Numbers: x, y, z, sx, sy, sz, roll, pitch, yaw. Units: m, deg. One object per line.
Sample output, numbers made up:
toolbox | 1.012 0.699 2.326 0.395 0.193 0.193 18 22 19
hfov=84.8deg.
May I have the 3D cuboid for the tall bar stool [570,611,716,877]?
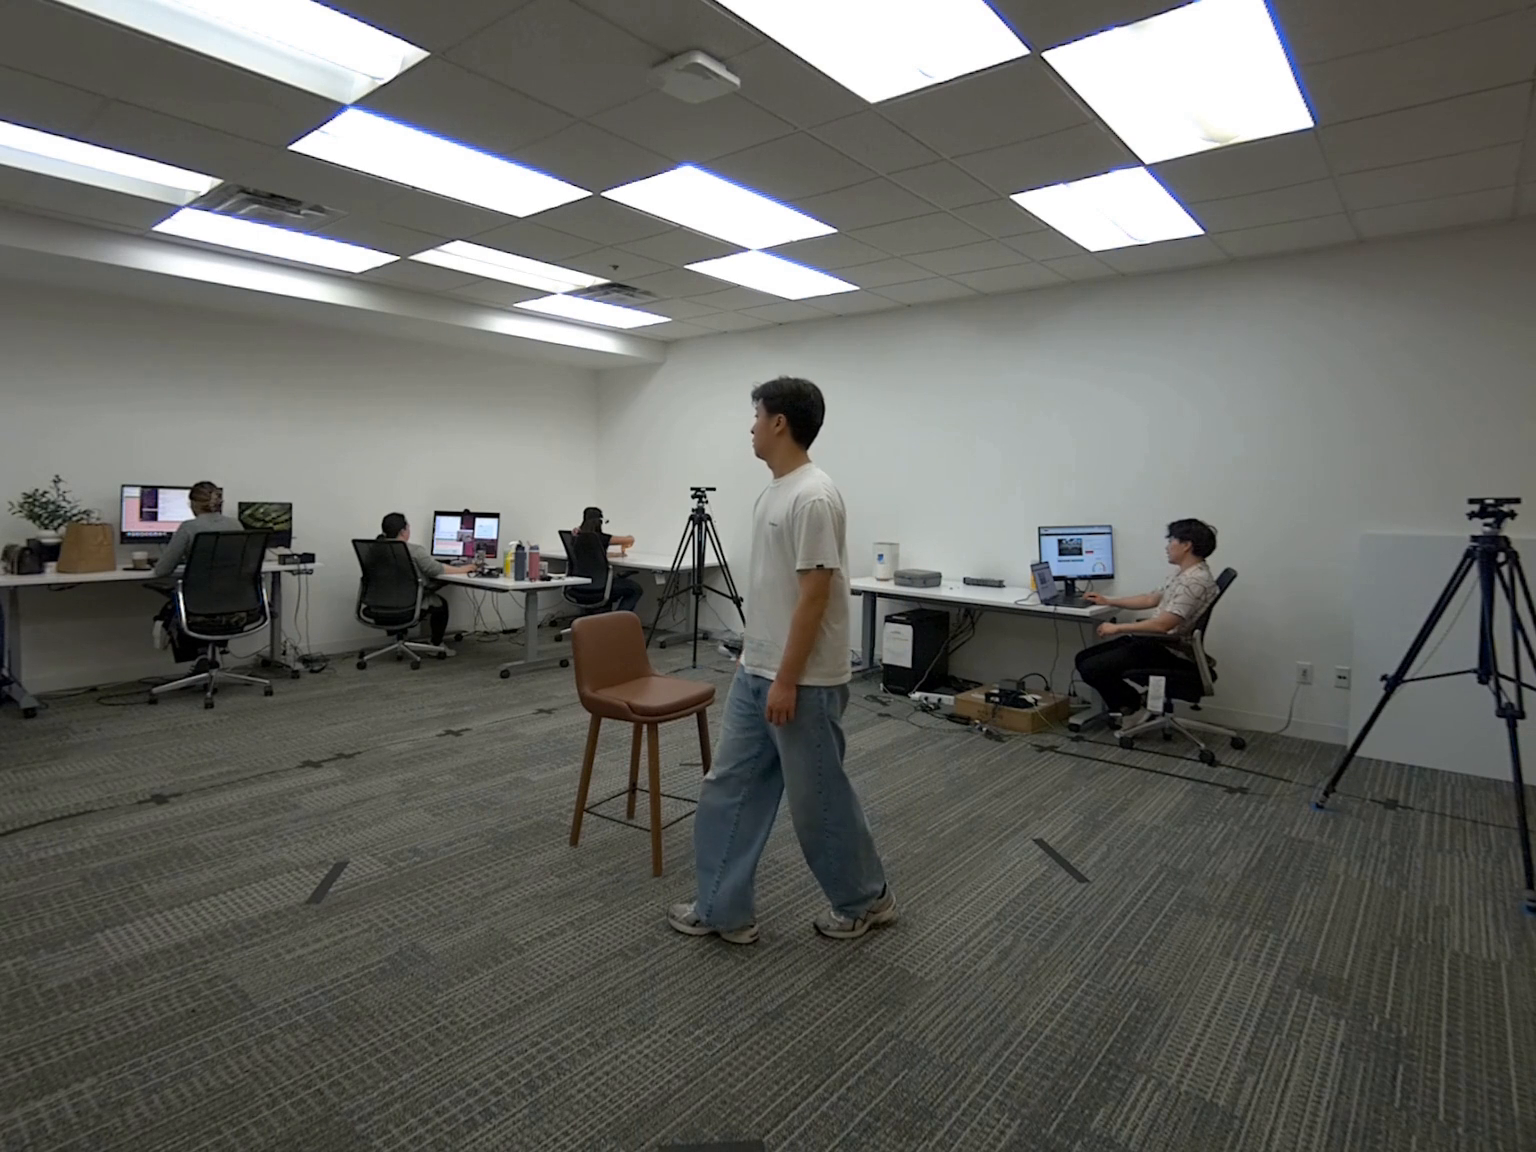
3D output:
tall bar stool | -0.492 0.605 3.305 0.481 0.888 0.444 1 2 32
